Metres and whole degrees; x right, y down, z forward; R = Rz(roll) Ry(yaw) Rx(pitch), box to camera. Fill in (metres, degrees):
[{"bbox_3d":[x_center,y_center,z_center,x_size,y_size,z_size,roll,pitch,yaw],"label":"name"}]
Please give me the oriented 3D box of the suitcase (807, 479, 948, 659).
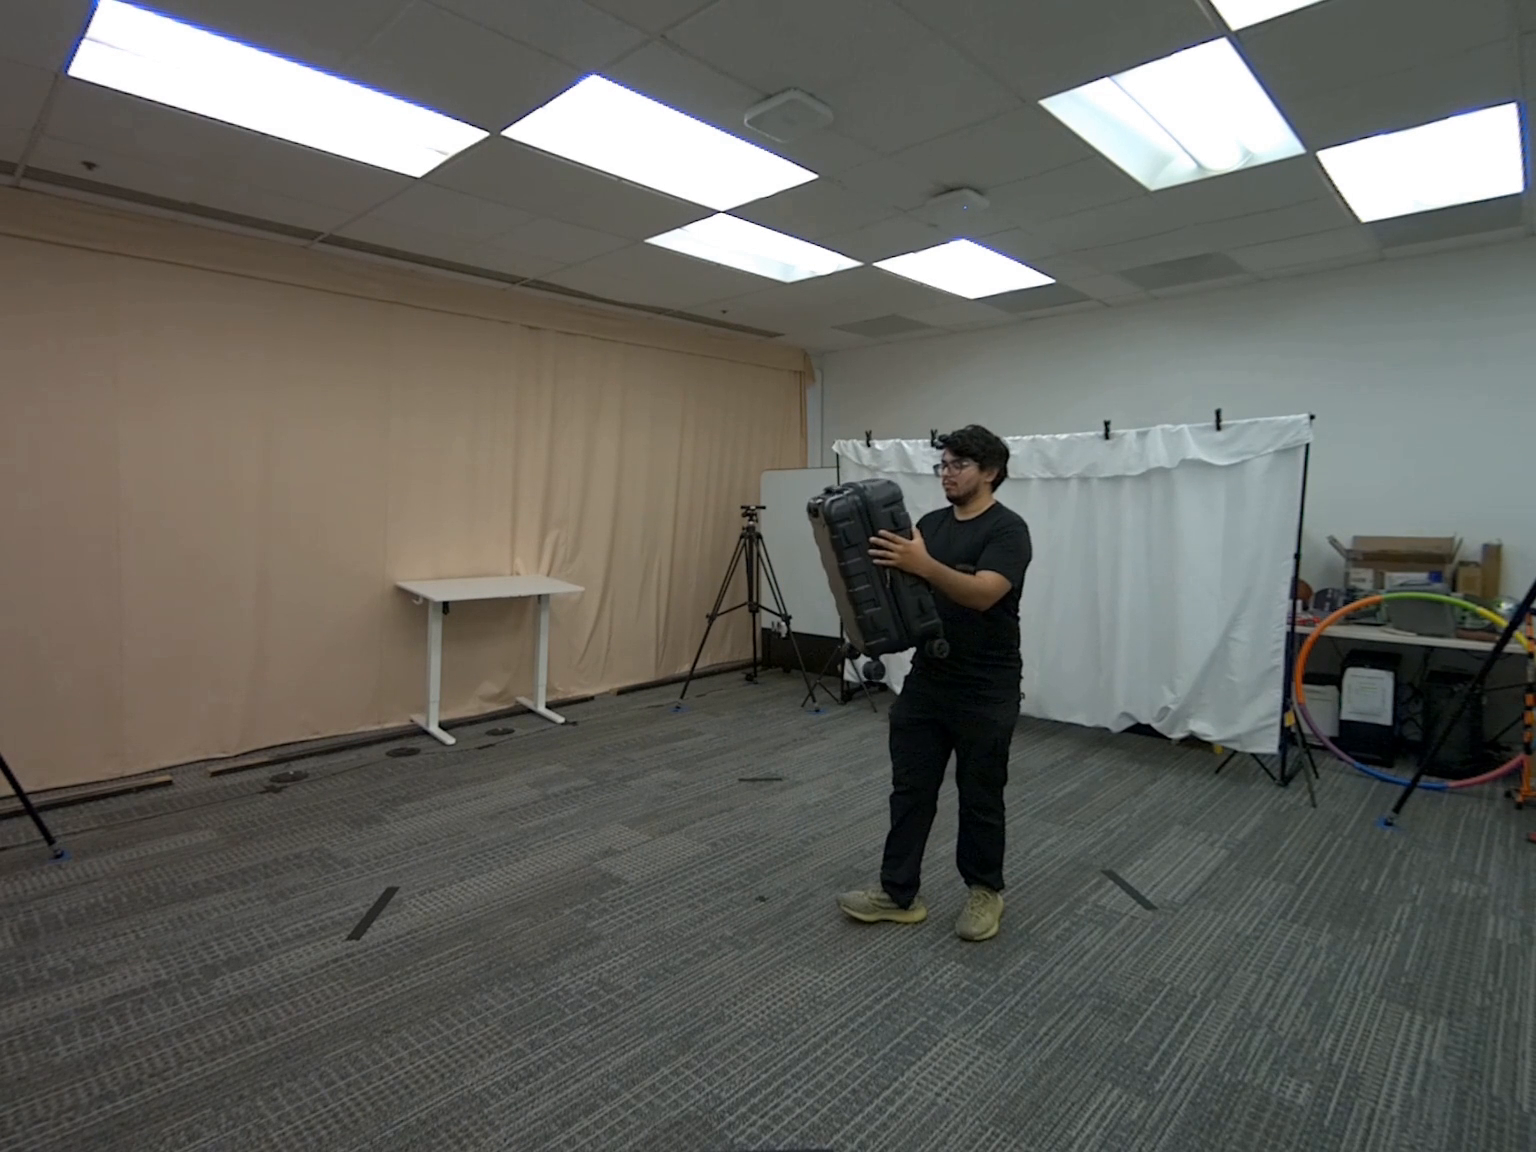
[{"bbox_3d":[0.326,-0.022,2.539,0.247,0.547,0.378,-18,5,-5],"label":"suitcase"}]
